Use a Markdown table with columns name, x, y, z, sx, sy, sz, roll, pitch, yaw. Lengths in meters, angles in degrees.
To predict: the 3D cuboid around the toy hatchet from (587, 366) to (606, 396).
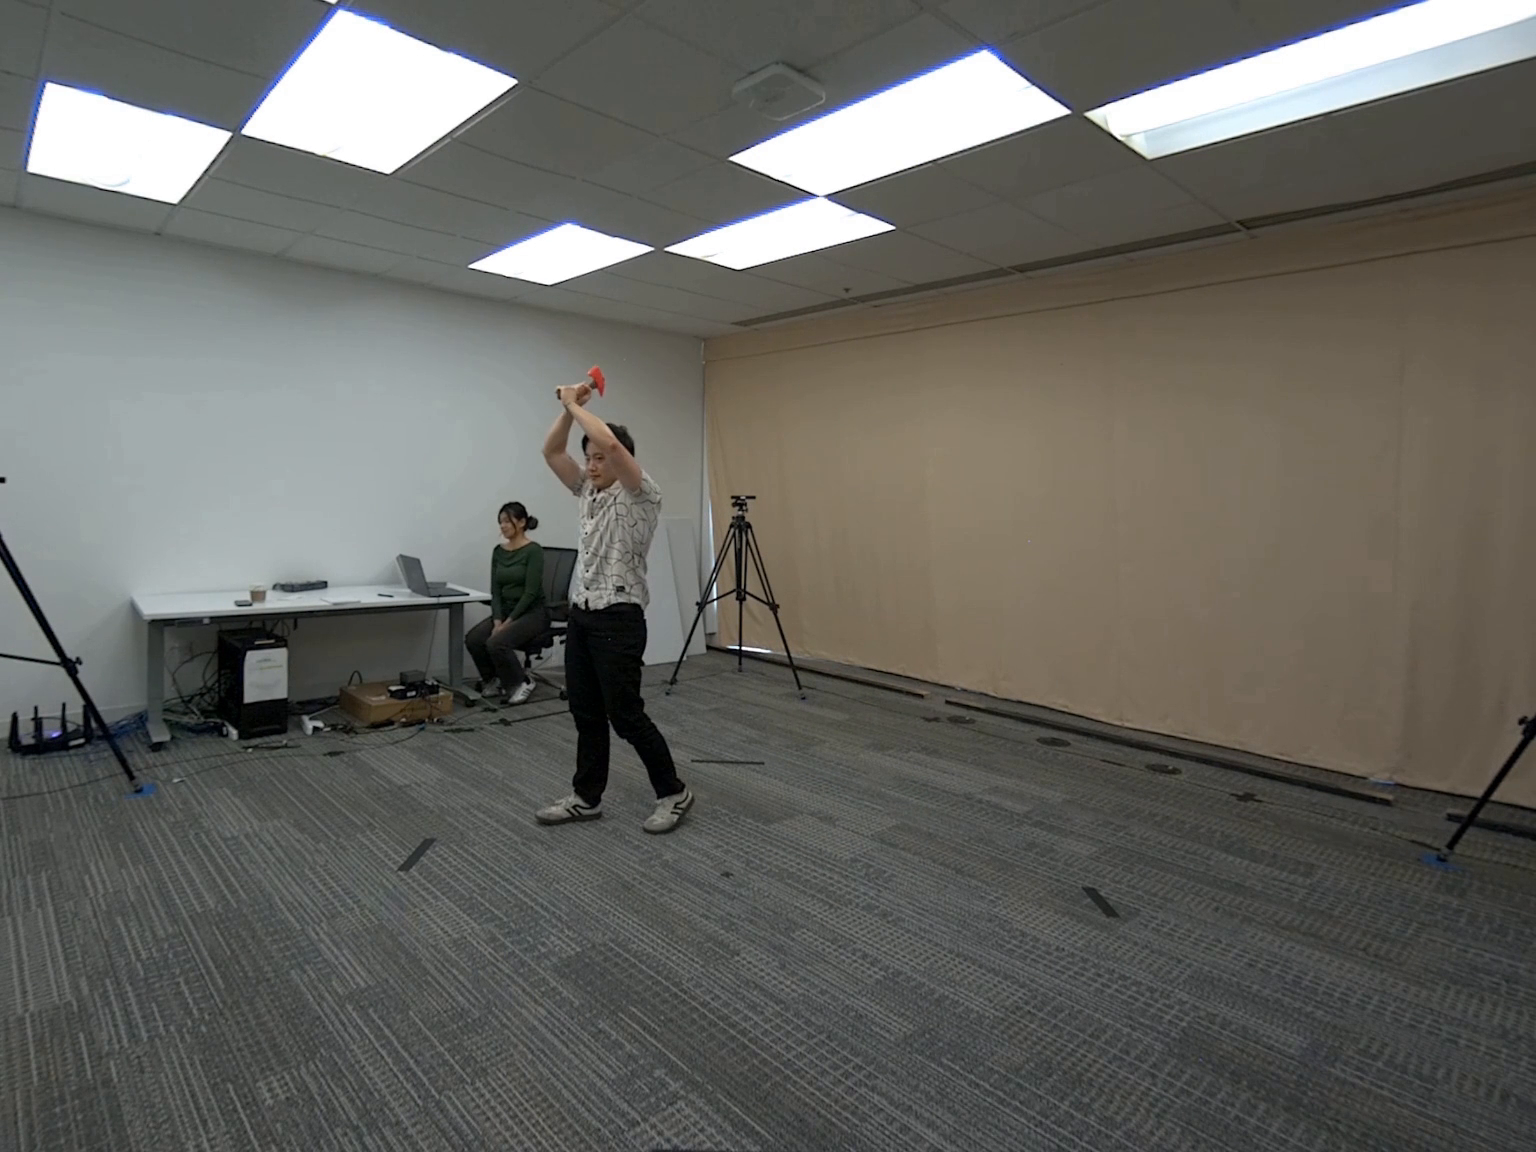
| name | x | y | z | sx | sy | sz | roll | pitch | yaw |
| --- | --- | --- | --- | --- | --- | --- | --- | --- | --- |
| toy hatchet | -0.761 | -0.784 | 3.380 | 0.030 | 0.130 | 0.266 | 15 | 19 | 27 |
